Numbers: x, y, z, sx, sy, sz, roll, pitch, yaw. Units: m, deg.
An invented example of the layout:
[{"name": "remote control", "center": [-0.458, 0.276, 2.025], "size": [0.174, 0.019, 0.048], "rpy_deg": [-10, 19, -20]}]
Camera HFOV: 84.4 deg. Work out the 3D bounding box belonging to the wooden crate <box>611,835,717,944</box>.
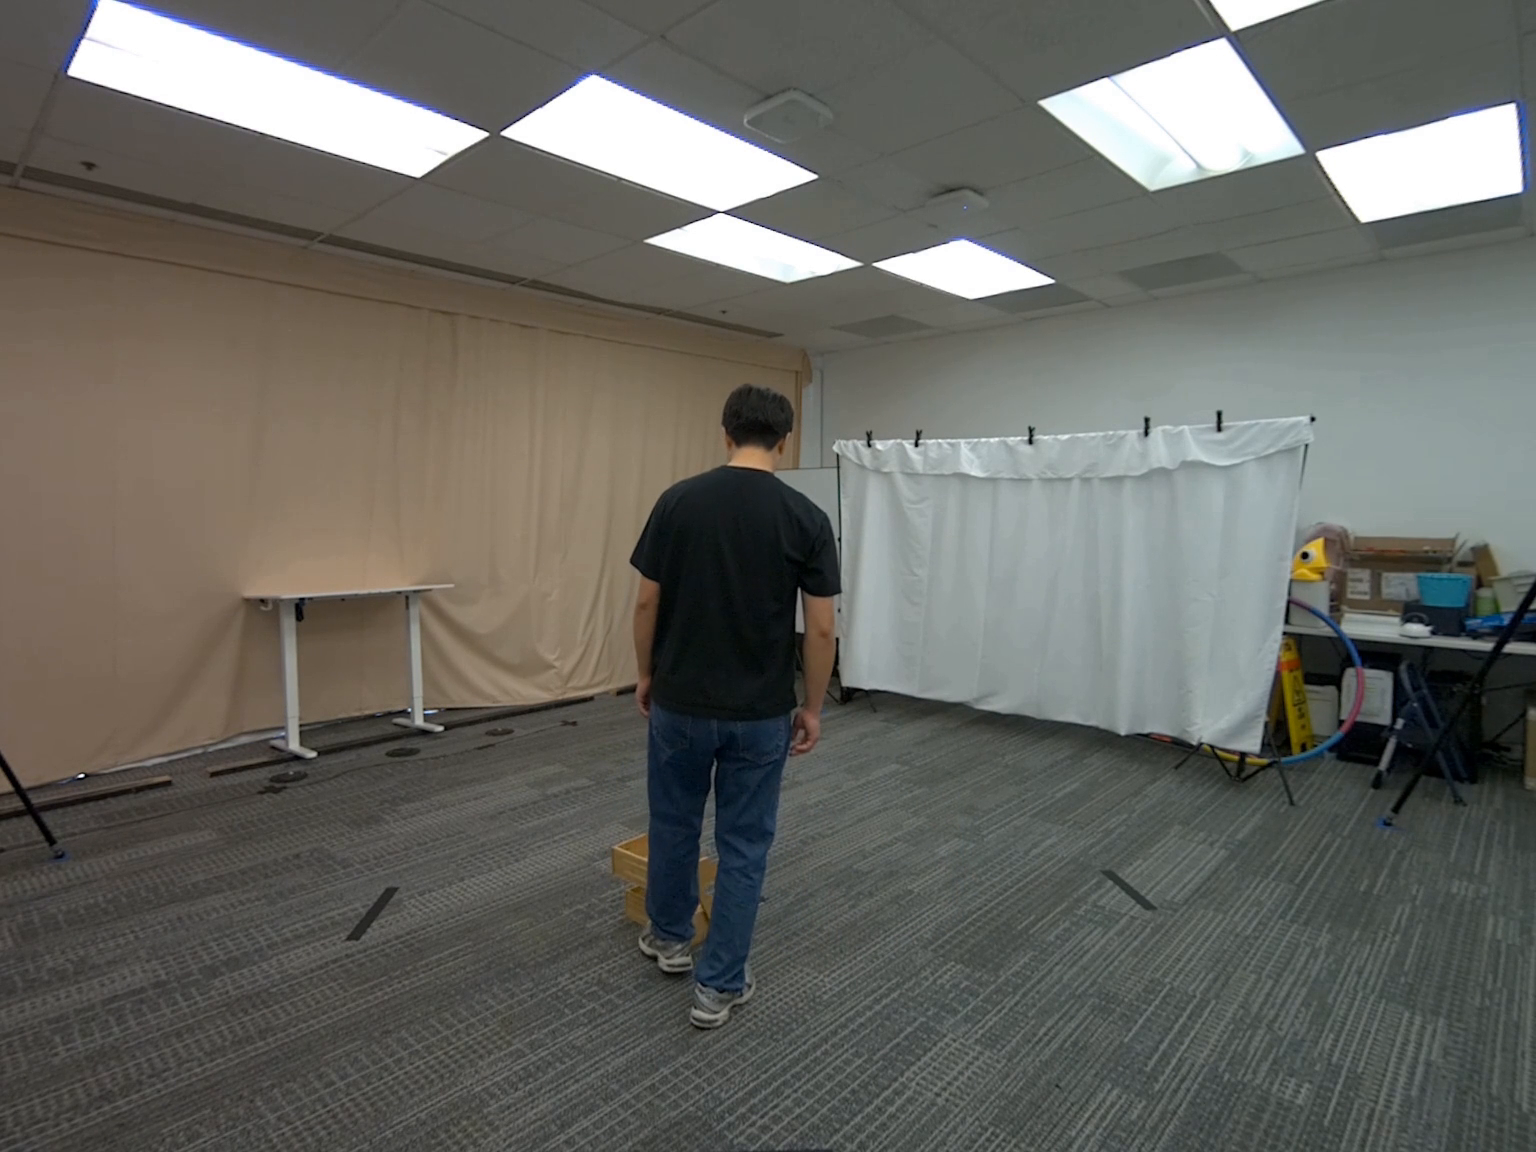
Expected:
[{"name": "wooden crate", "center": [-0.301, 1.025, 2.824], "size": [0.335, 0.272, 0.293], "rpy_deg": [3, 6, 39]}]
